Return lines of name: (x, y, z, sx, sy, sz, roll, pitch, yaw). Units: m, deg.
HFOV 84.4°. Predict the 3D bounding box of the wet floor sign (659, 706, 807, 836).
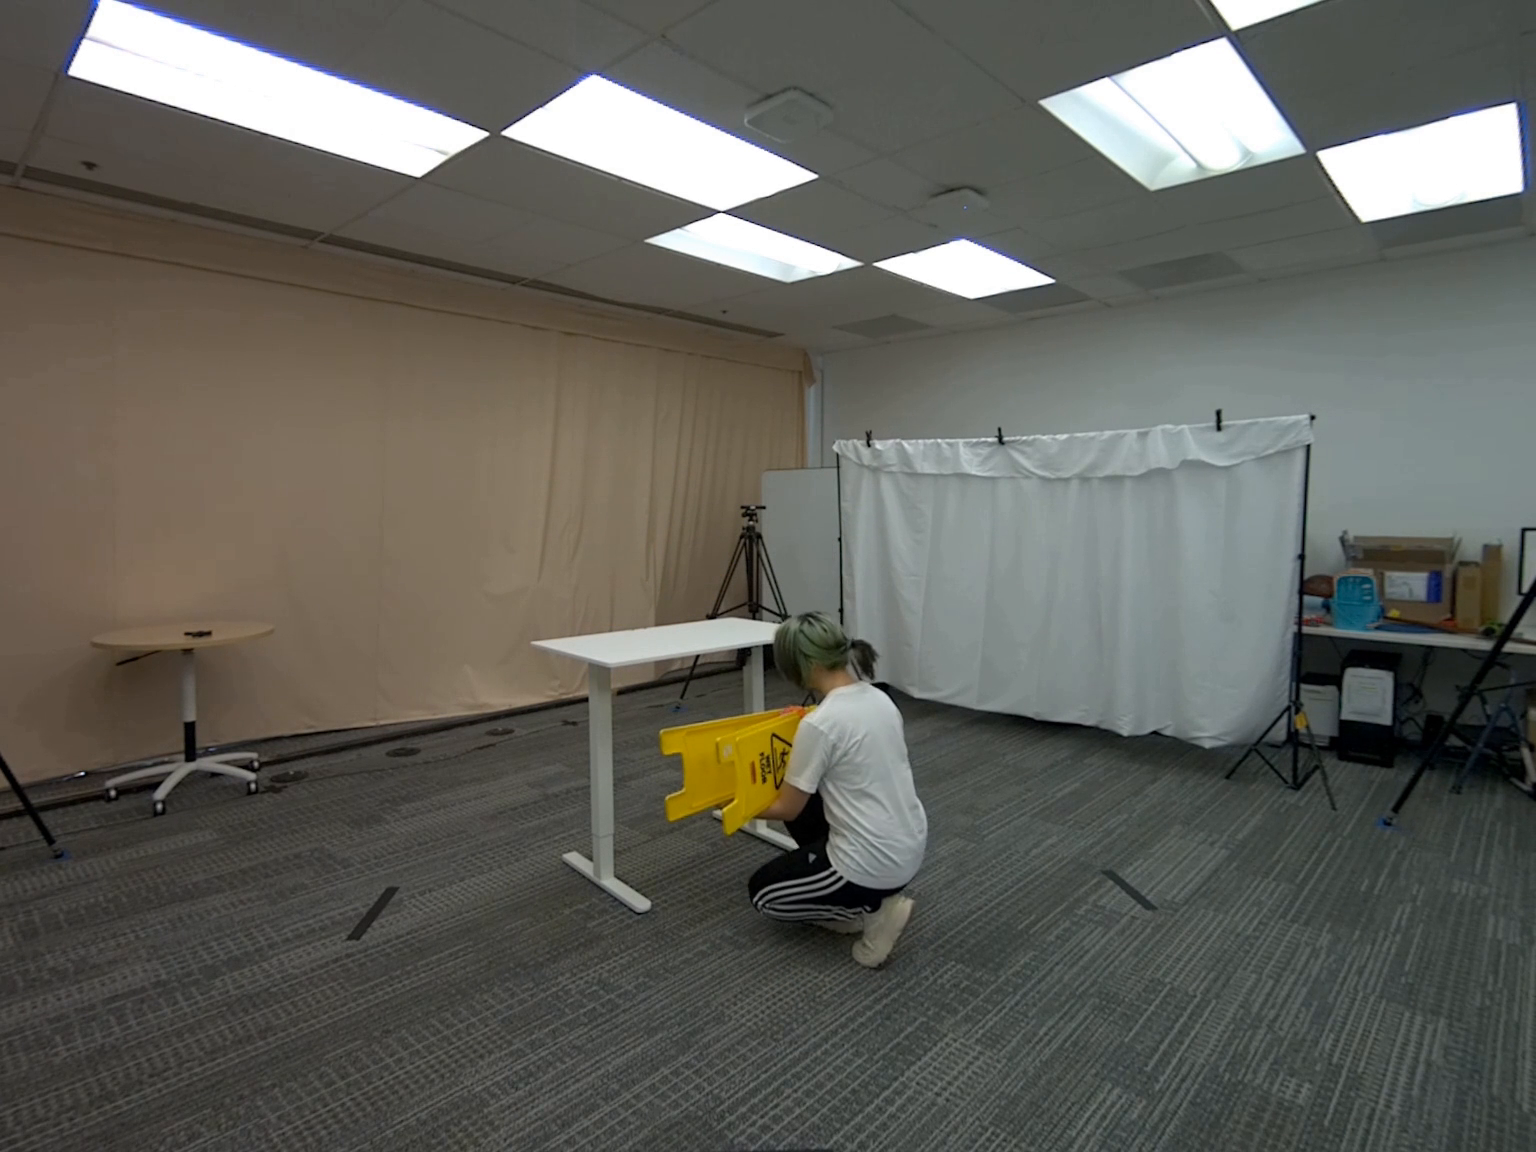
wet floor sign: (-0.017, 0.579, 2.722, 0.299, 0.282, 0.627, -3, 3, 41)
